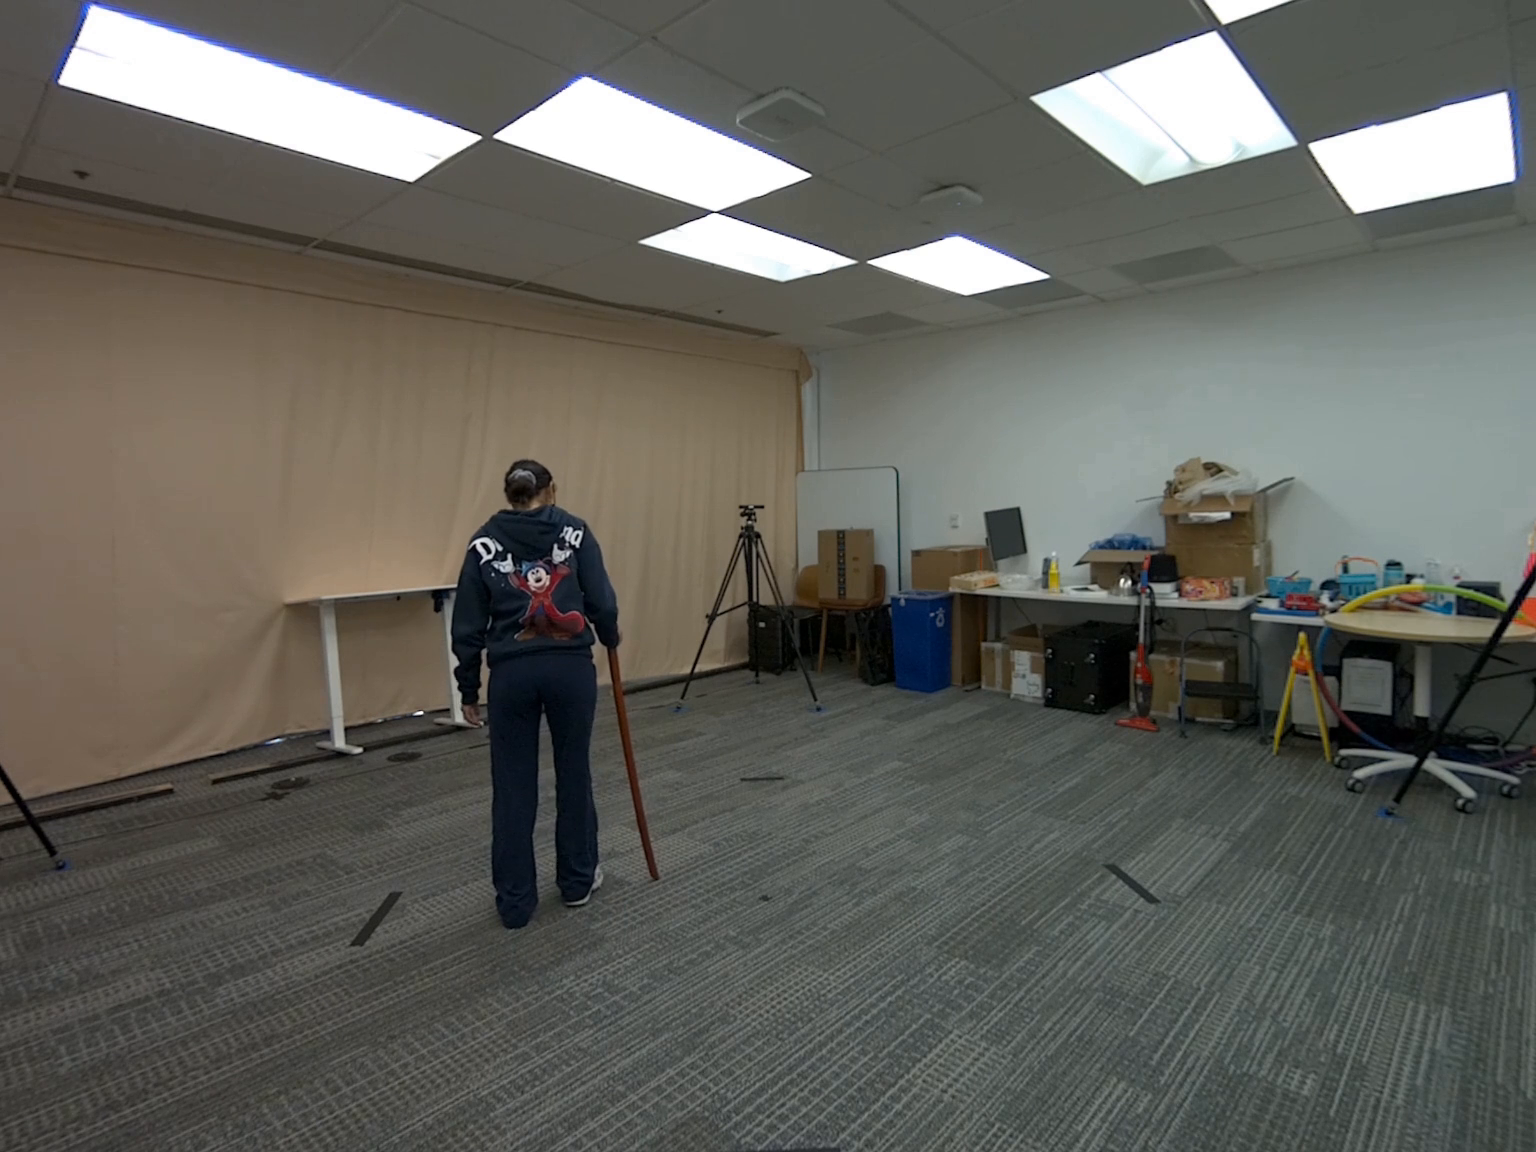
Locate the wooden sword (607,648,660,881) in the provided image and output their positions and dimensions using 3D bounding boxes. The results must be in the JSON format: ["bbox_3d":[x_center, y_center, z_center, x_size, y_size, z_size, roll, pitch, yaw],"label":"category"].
[{"bbox_3d":[-0.512,0.652,3.146,0.024,1.025,0.050,-10,-1,28],"label":"wooden sword"}]
